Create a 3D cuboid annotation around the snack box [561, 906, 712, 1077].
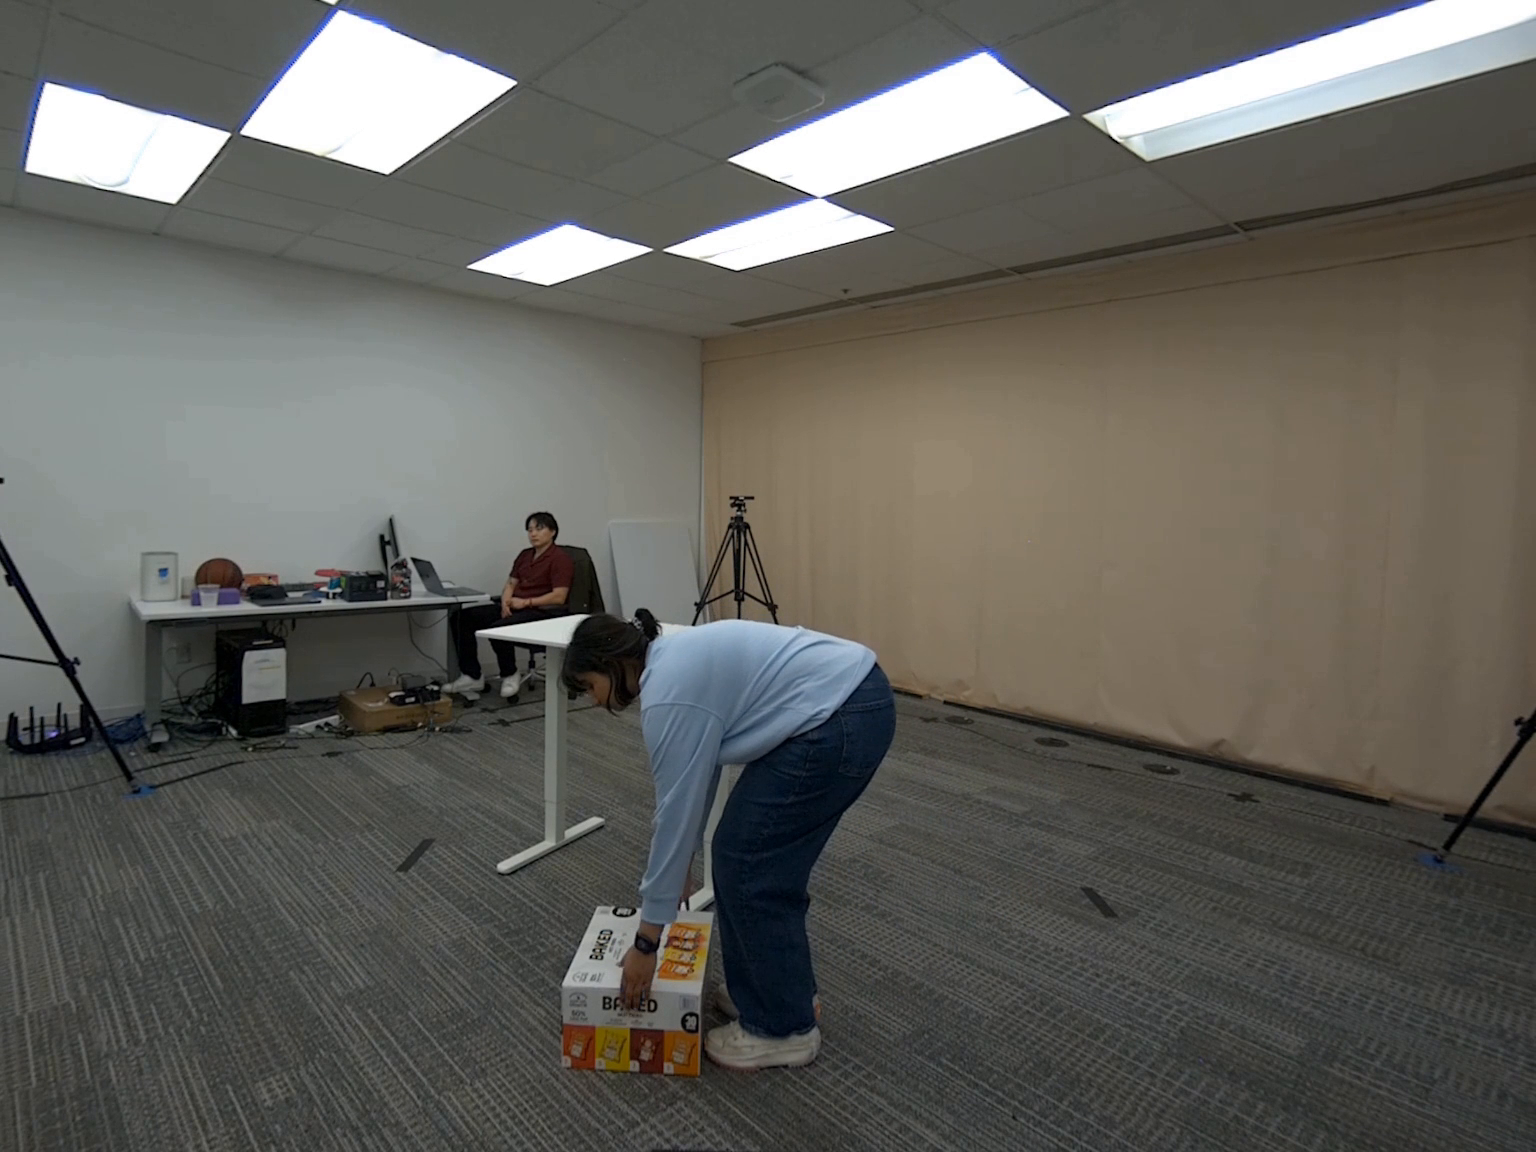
[{"bbox_3d":[-0.330,1.075,2.230,0.341,0.205,0.405,2,5,2],"label":"snack box"}]
